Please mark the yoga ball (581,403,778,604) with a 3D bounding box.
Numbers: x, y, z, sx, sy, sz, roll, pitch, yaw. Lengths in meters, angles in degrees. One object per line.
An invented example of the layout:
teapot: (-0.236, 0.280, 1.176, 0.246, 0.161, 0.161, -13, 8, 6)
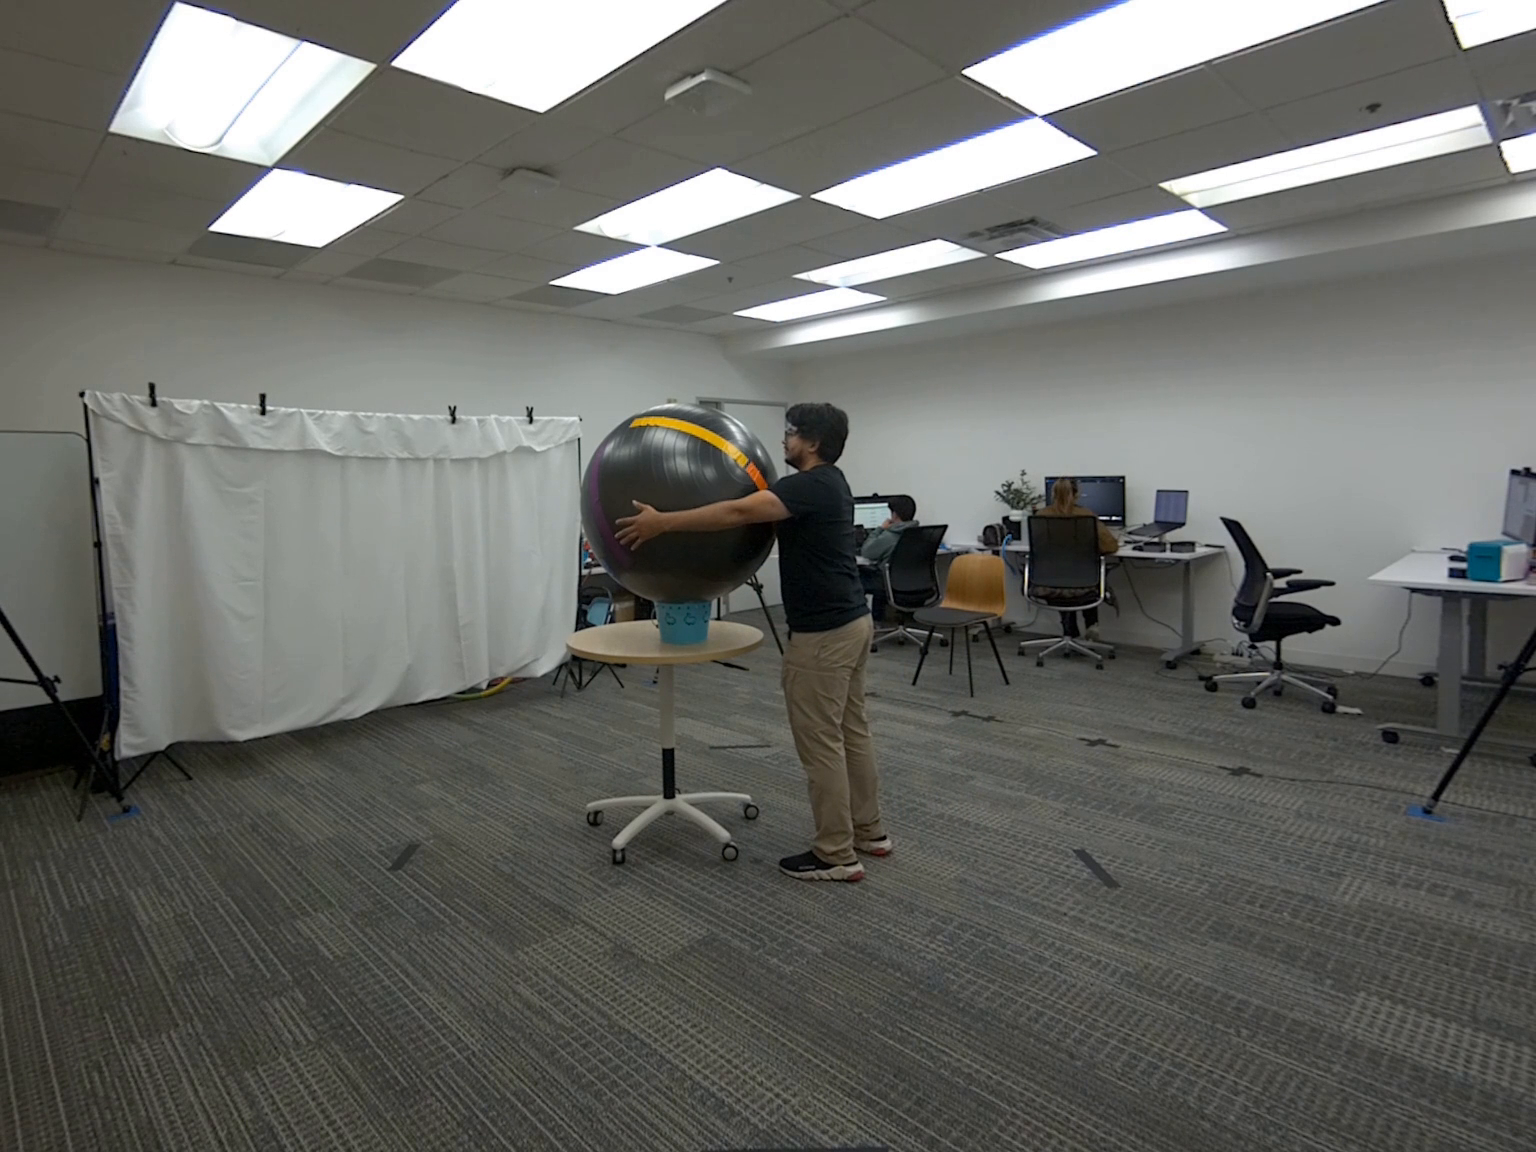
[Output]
yoga ball: (-0.330, -0.268, 3.230, 0.757, 0.755, 0.762, -1, 5, -2)
